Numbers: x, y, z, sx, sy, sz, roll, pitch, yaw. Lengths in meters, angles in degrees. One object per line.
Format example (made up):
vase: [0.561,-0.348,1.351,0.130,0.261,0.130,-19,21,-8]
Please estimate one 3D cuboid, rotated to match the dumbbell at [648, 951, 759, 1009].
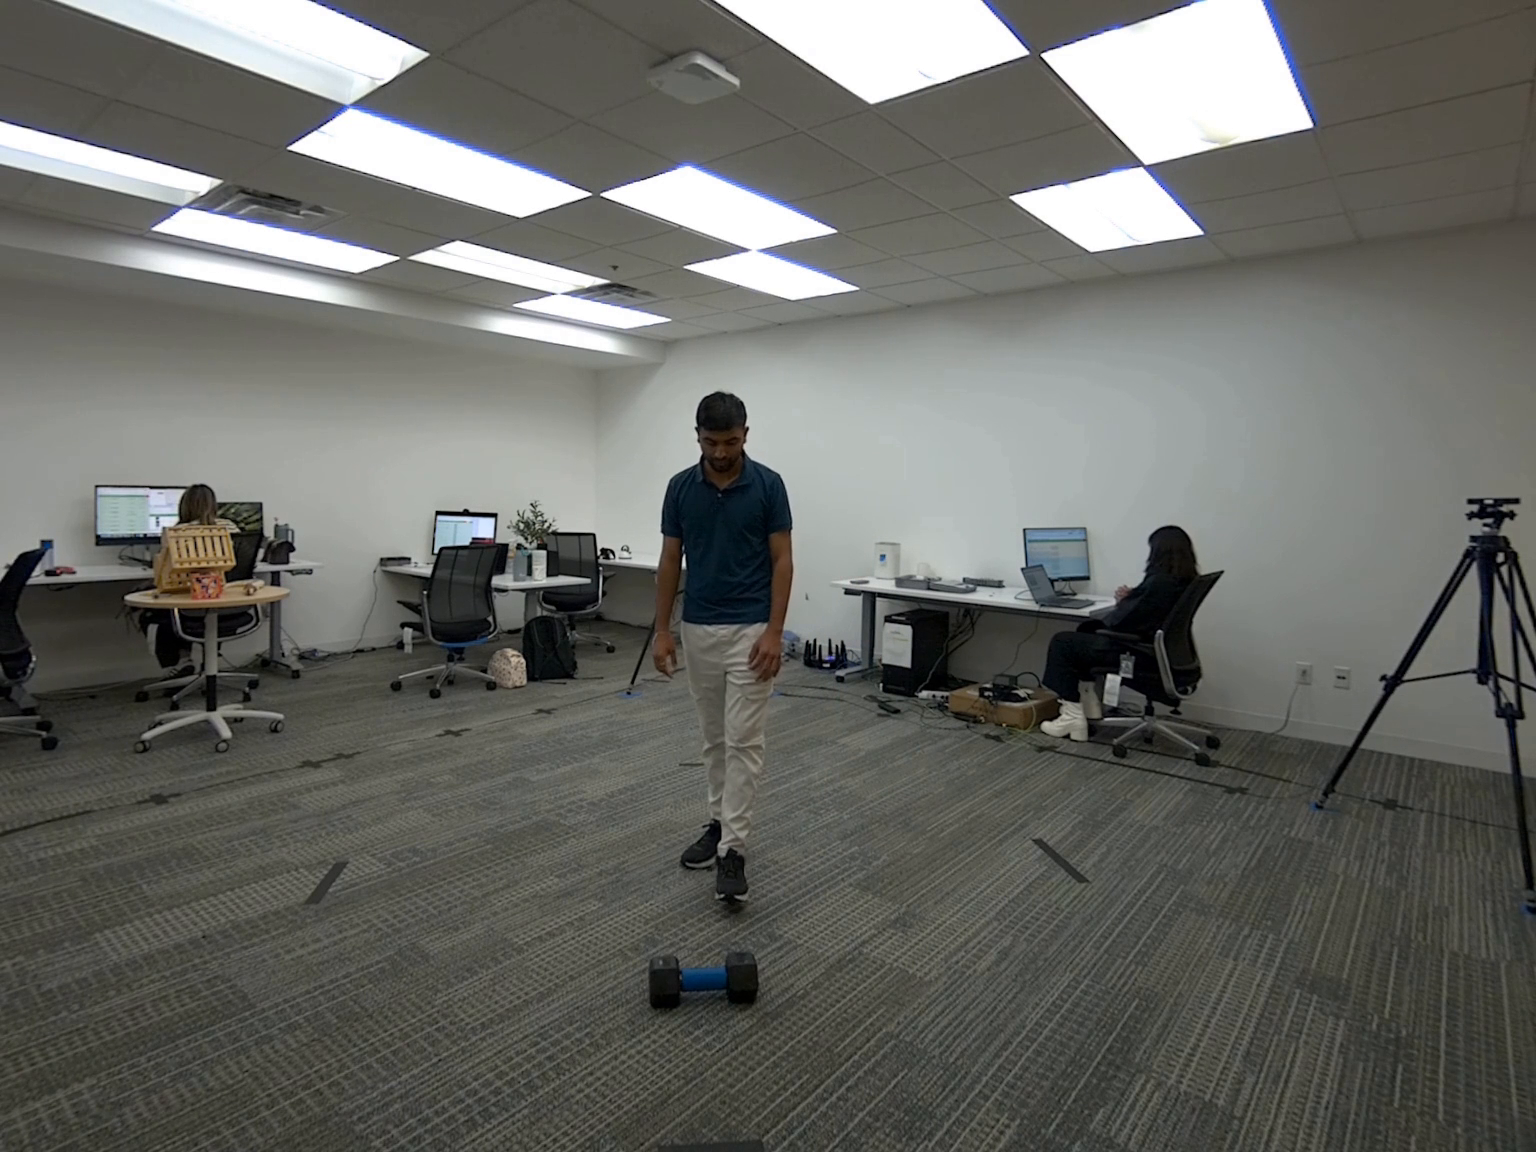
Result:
dumbbell: [-0.179,1.091,2.313,0.291,0.108,0.124,0,5,-7]
